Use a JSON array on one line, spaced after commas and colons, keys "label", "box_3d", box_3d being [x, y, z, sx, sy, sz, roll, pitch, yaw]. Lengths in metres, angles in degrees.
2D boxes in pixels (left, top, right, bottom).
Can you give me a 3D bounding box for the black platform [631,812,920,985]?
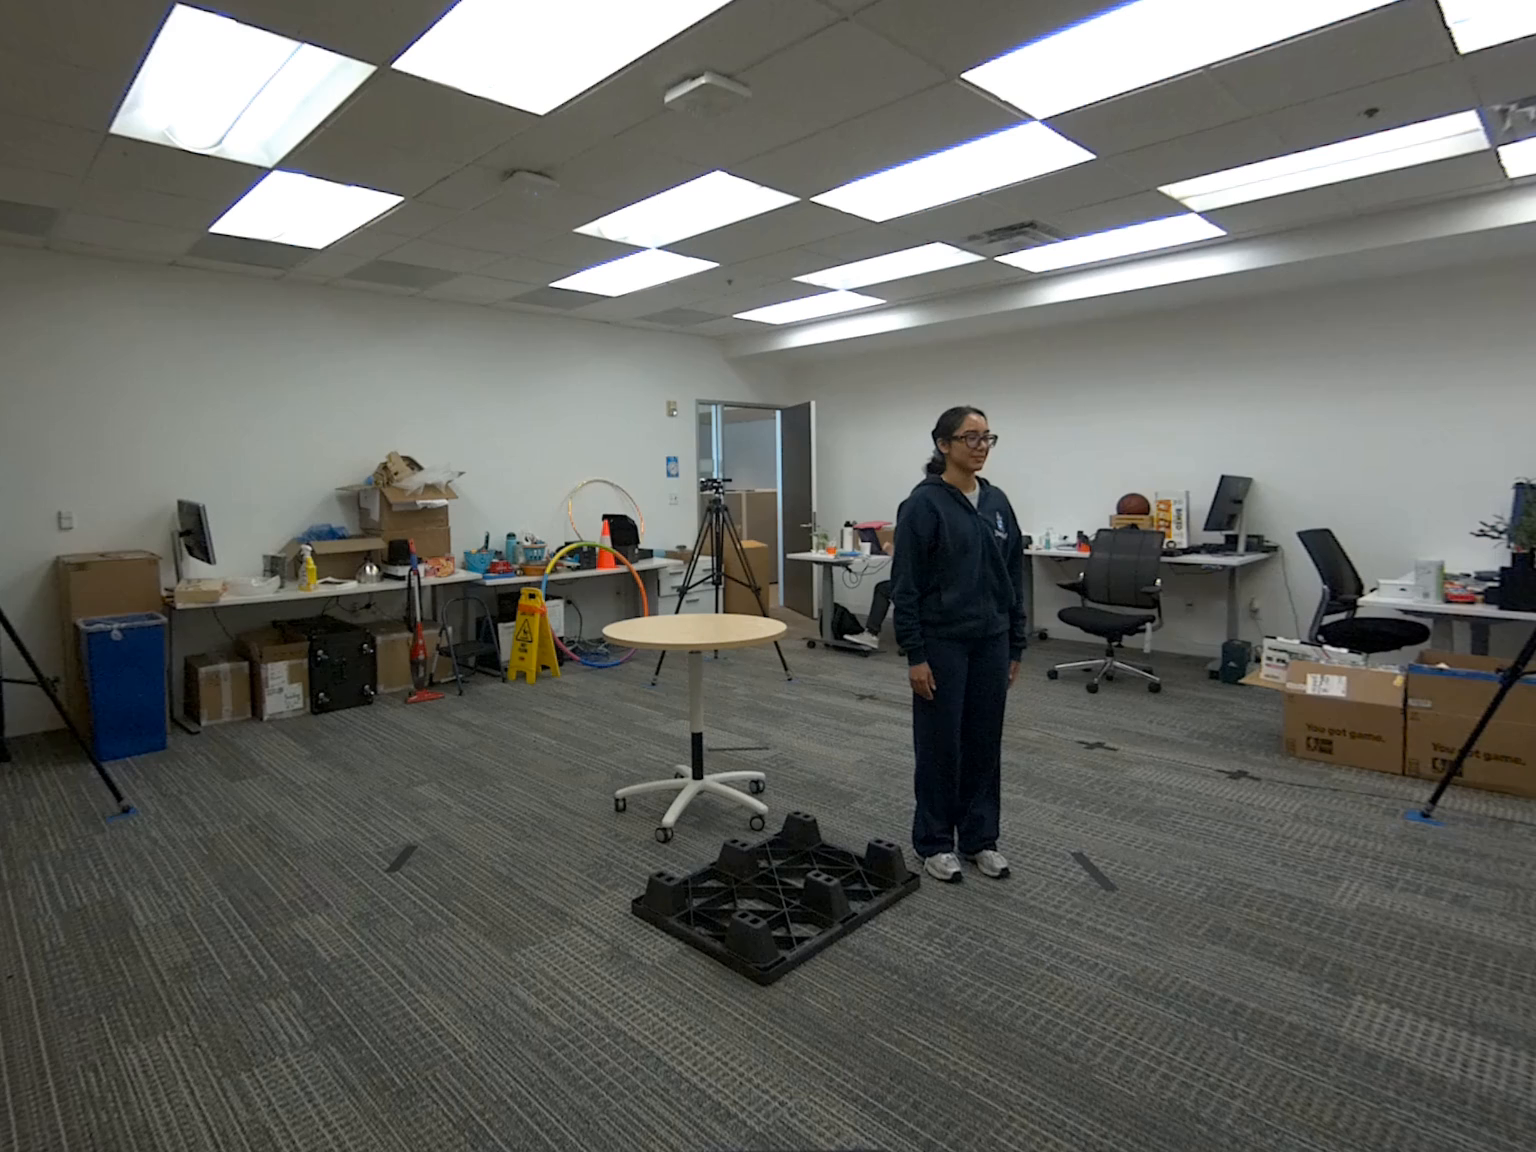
[{"label": "black platform", "box_3d": [0.046, 1.007, 2.833, 0.624, 0.142, 0.785, 5, 9, 43]}]
